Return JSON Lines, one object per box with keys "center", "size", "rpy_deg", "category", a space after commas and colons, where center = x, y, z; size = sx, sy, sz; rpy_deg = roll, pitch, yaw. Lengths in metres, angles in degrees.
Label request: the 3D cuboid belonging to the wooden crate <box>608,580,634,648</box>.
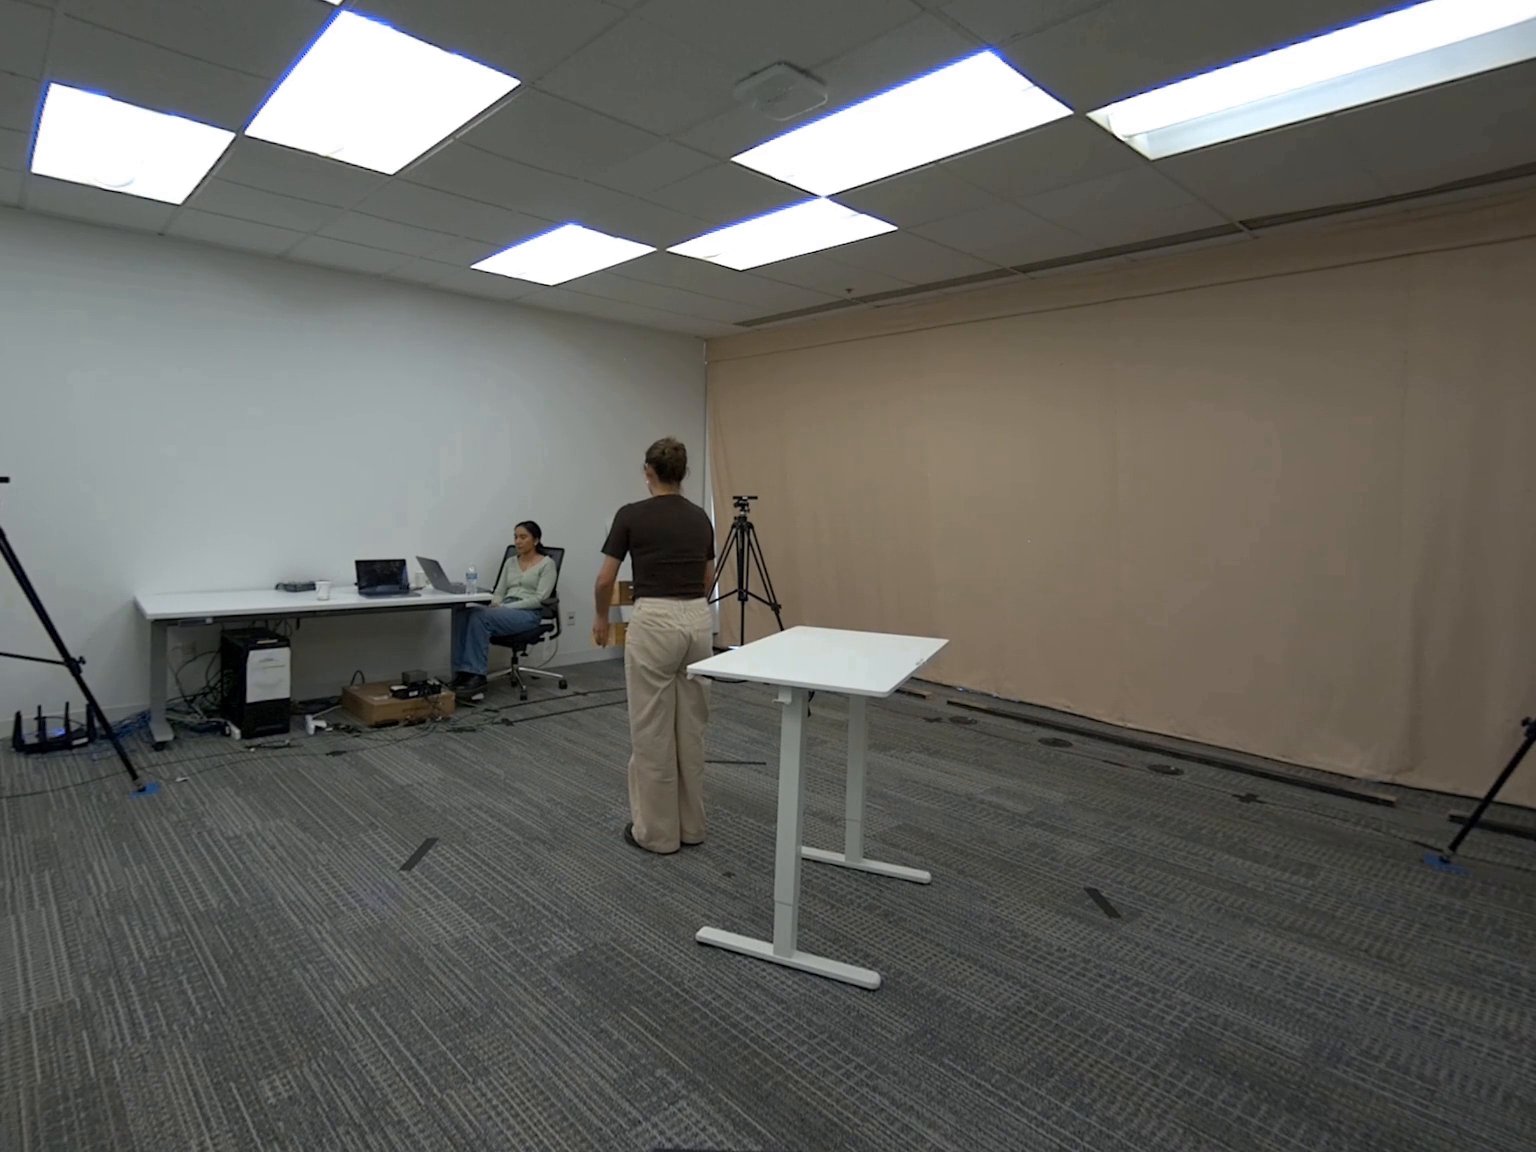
{"center": [-0.572, 0.158, 3.598], "size": [0.317, 0.274, 0.308], "rpy_deg": [0, -4, -36], "category": "wooden crate"}
